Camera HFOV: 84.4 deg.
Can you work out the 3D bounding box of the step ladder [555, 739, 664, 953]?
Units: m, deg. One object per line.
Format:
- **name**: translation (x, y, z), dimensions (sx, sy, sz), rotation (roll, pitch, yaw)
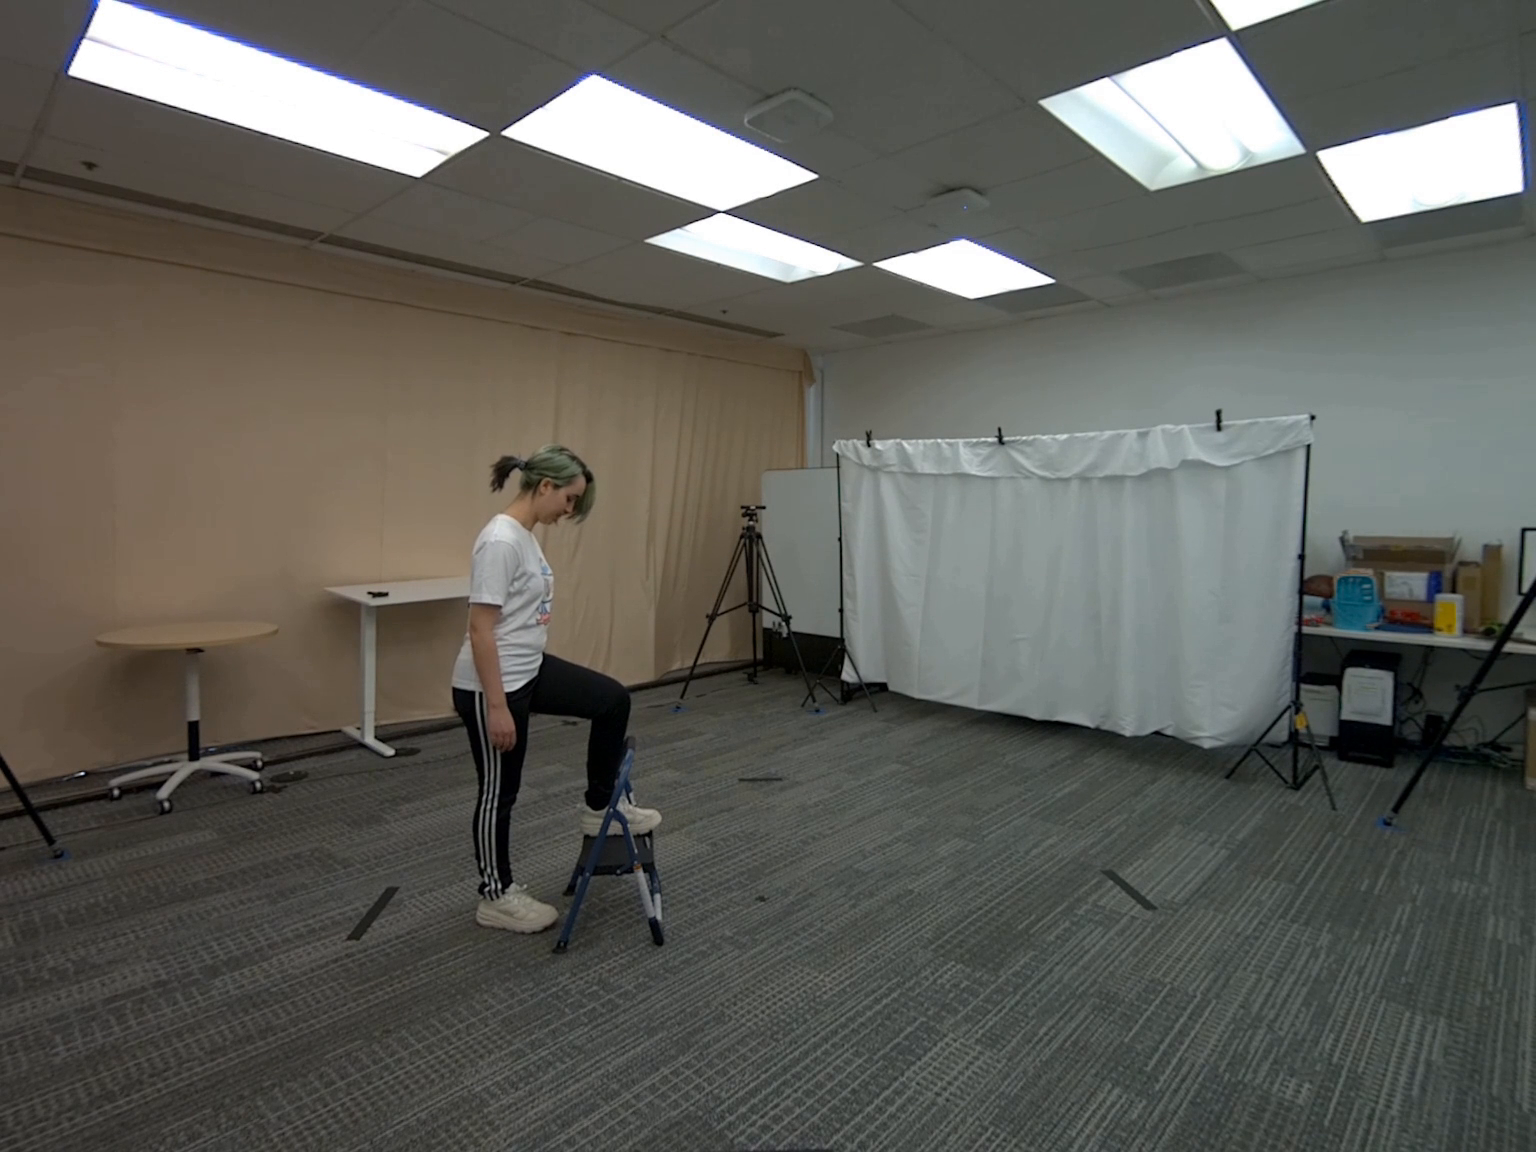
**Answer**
- **step ladder**: translation (-0.533, 0.864, 2.833), dimensions (0.347, 0.605, 0.435), rotation (-1, 4, -8)
